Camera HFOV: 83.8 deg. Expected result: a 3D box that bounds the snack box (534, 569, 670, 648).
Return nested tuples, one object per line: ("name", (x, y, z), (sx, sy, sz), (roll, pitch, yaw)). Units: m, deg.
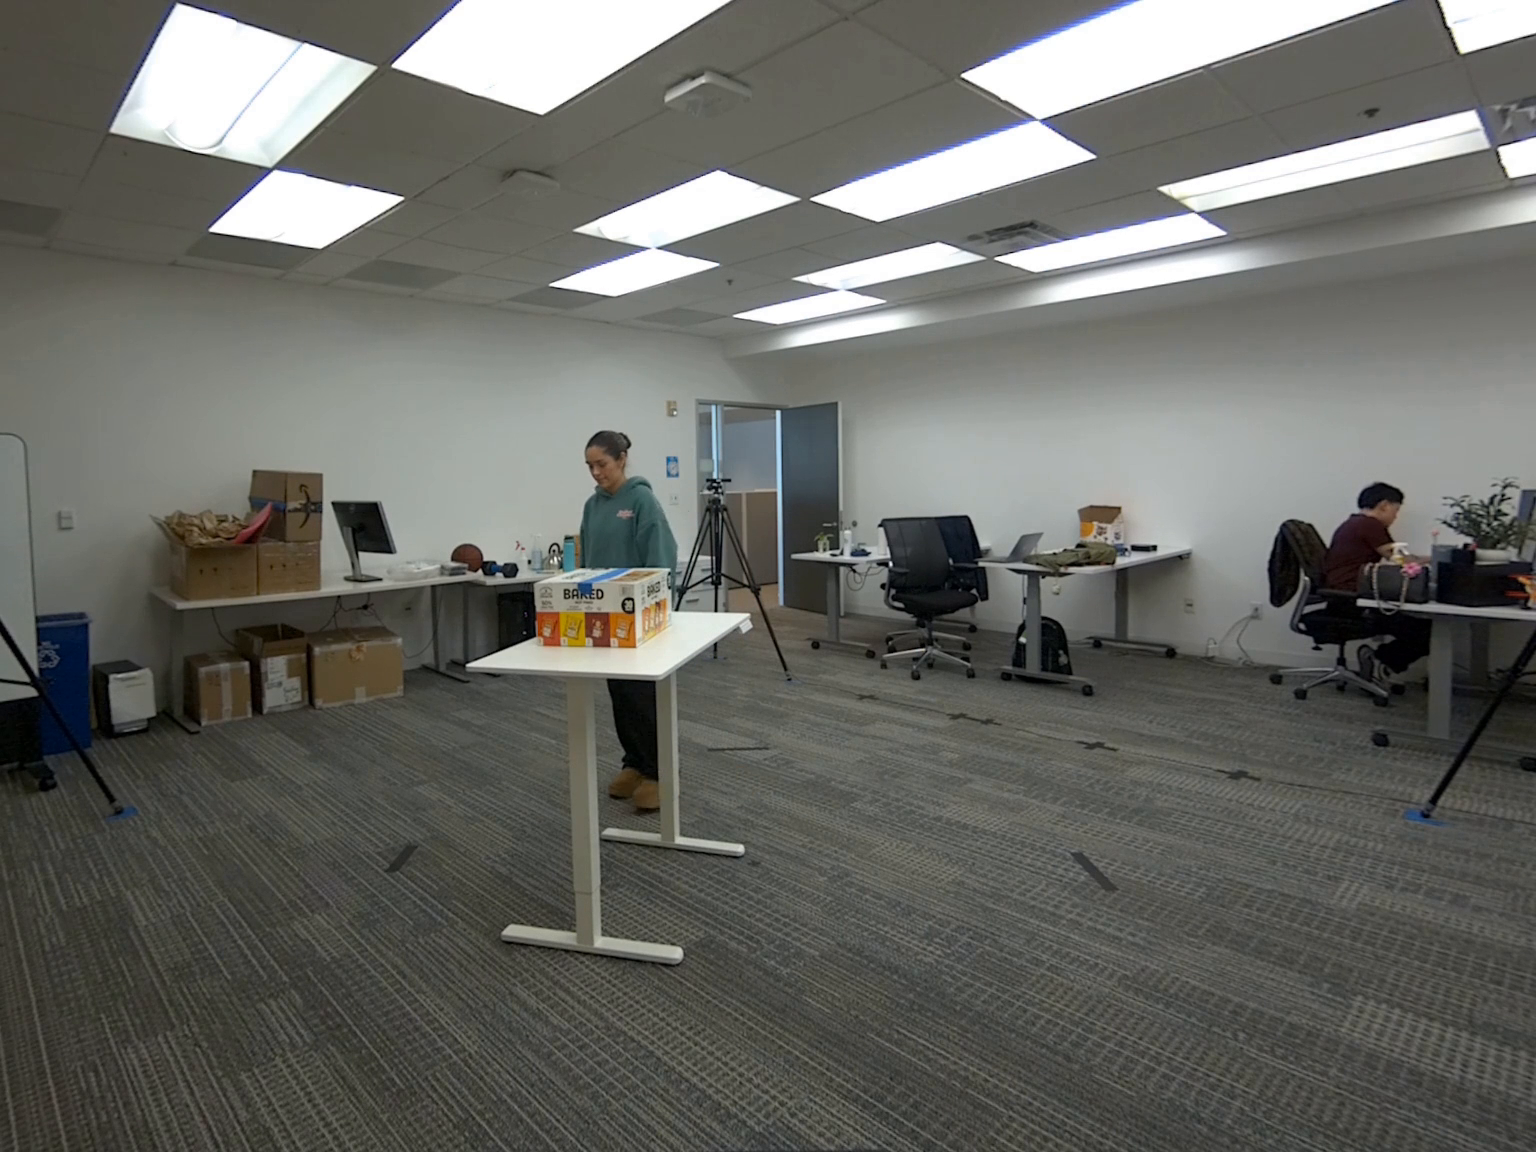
("snack box", (-0.545, 0.099, 2.878), (0.344, 0.205, 0.402), (0, 7, 12))
